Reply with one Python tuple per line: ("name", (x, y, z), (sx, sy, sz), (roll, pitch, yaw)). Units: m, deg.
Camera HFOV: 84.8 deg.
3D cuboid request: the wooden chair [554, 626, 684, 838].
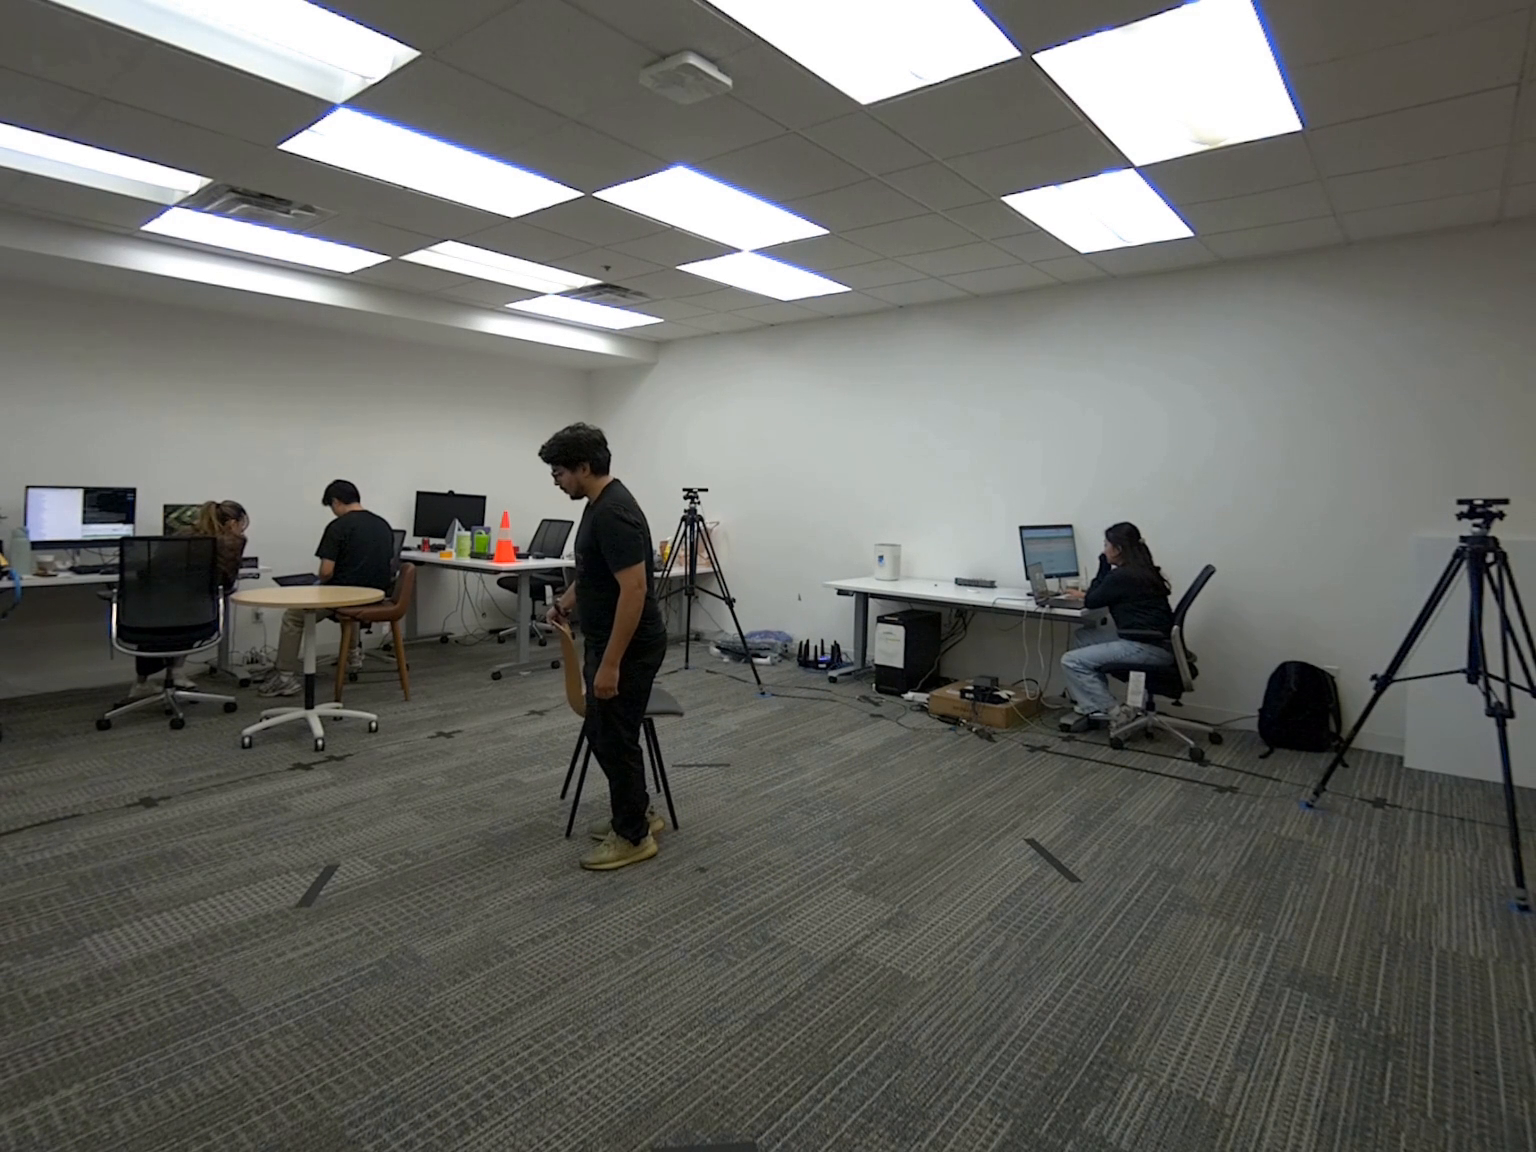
("wooden chair", (-0.643, 0.590, 3.617), (0.515, 0.874, 0.487), (-4, 4, -16))
